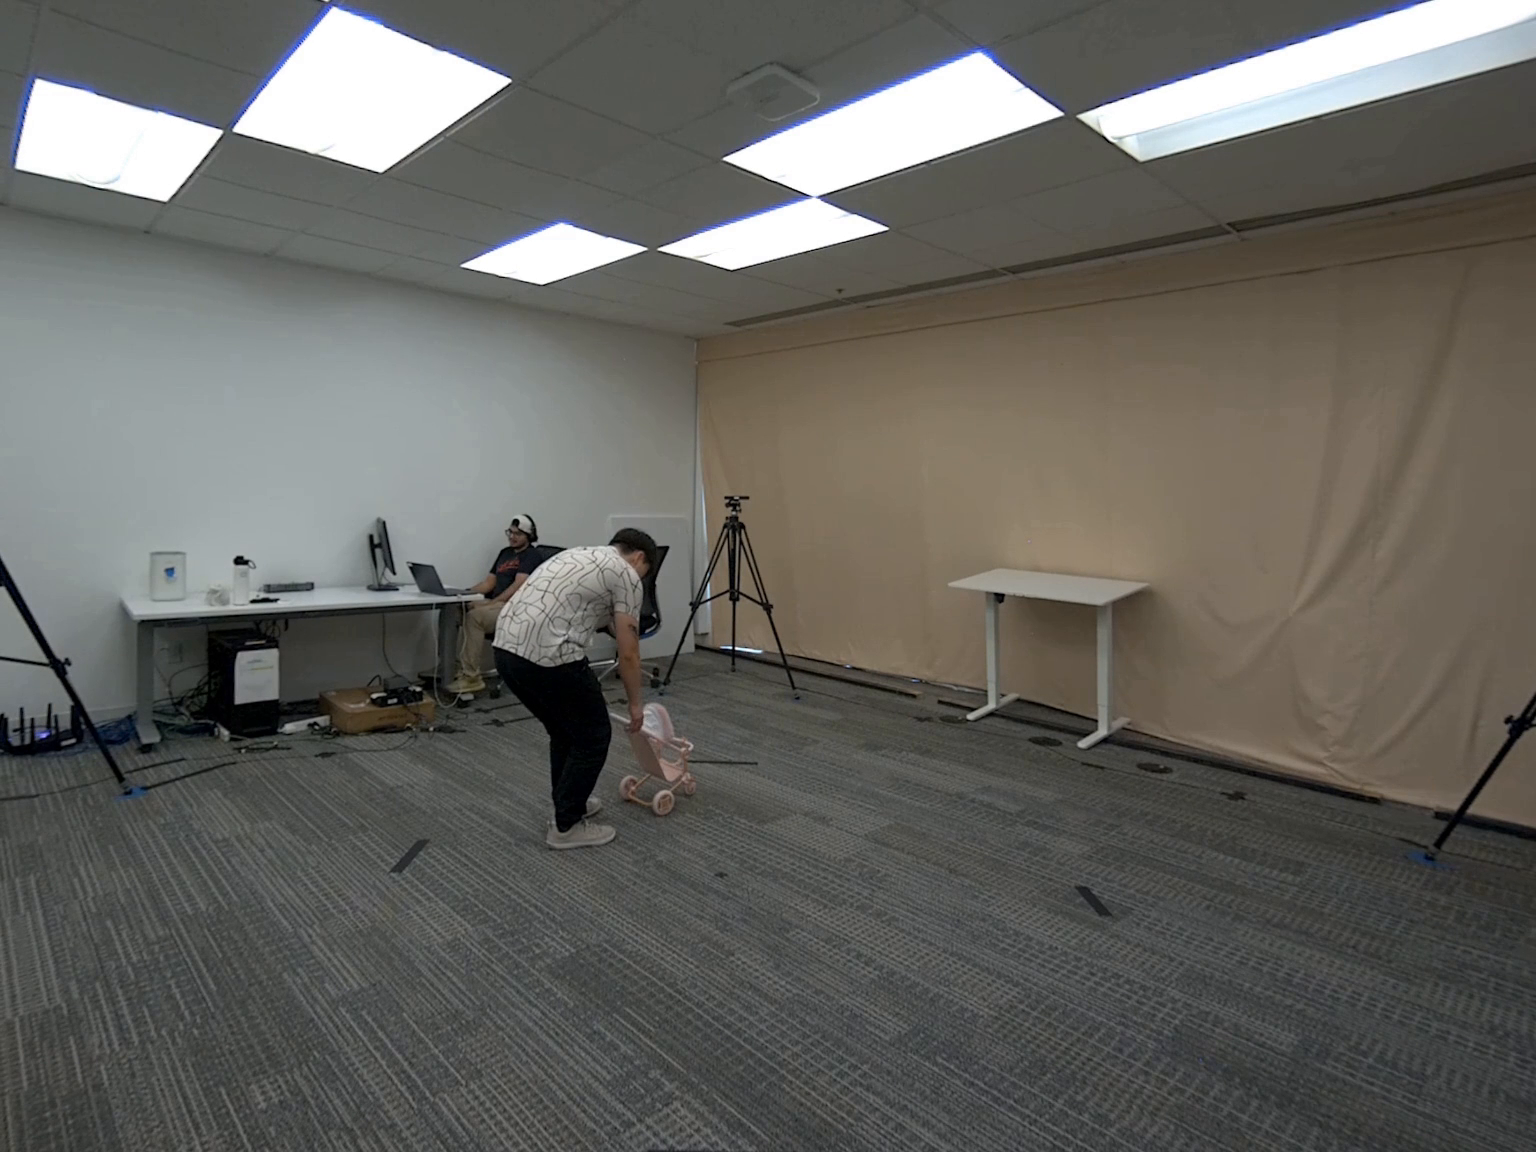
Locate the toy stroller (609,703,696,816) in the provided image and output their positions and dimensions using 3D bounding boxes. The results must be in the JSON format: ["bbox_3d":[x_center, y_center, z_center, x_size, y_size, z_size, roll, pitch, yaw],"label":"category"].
[{"bbox_3d":[-0.504,0.808,3.802,0.336,0.529,0.288,-21,17,-37],"label":"toy stroller"}]
